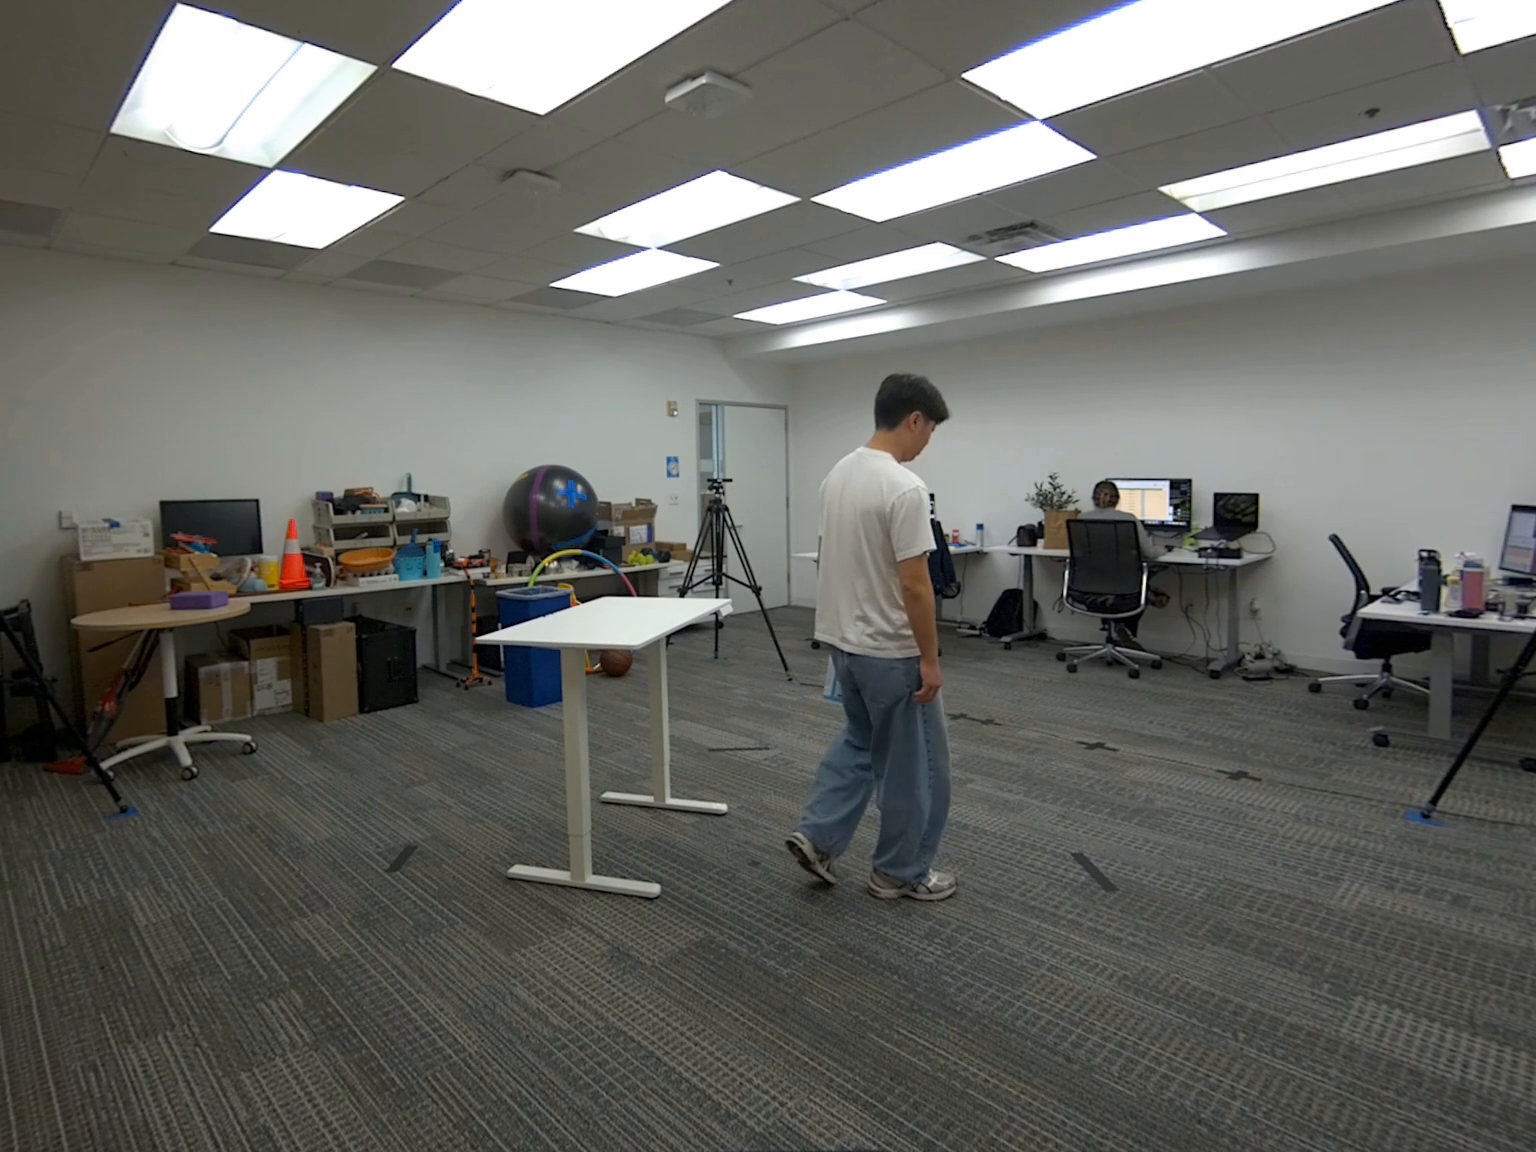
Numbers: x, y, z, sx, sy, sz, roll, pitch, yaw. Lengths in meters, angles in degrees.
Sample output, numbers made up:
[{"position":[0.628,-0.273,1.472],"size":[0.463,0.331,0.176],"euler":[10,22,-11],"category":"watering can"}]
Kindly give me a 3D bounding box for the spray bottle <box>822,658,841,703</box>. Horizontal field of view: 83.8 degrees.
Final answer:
[{"position":[0.267,0.313,3.102],"size":[0.089,0.298,0.088],"euler":[11,-2,20],"category":"spray bottle"}]
